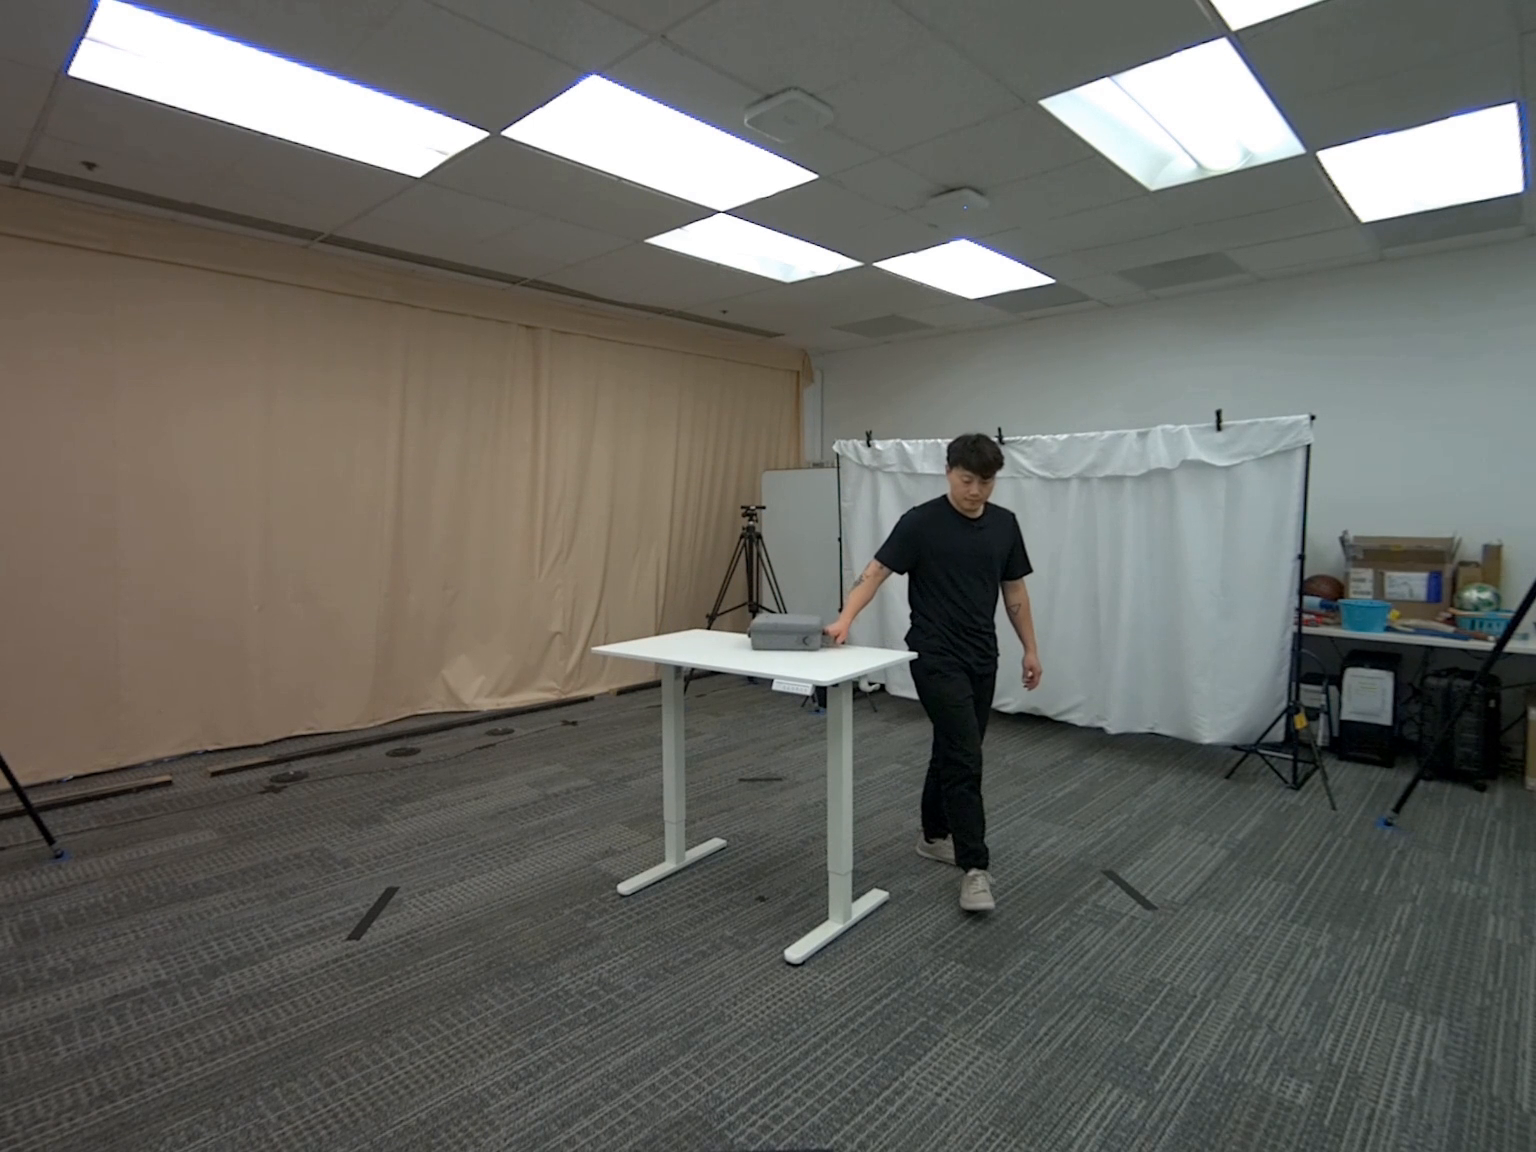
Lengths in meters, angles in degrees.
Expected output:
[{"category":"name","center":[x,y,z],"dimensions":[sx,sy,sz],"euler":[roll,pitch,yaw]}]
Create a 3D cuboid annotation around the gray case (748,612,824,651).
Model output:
[{"category":"gray case","center":[0.073,0.201,3.071],"dimensions":[0.264,0.104,0.254],"euler":[2,2,10]}]
